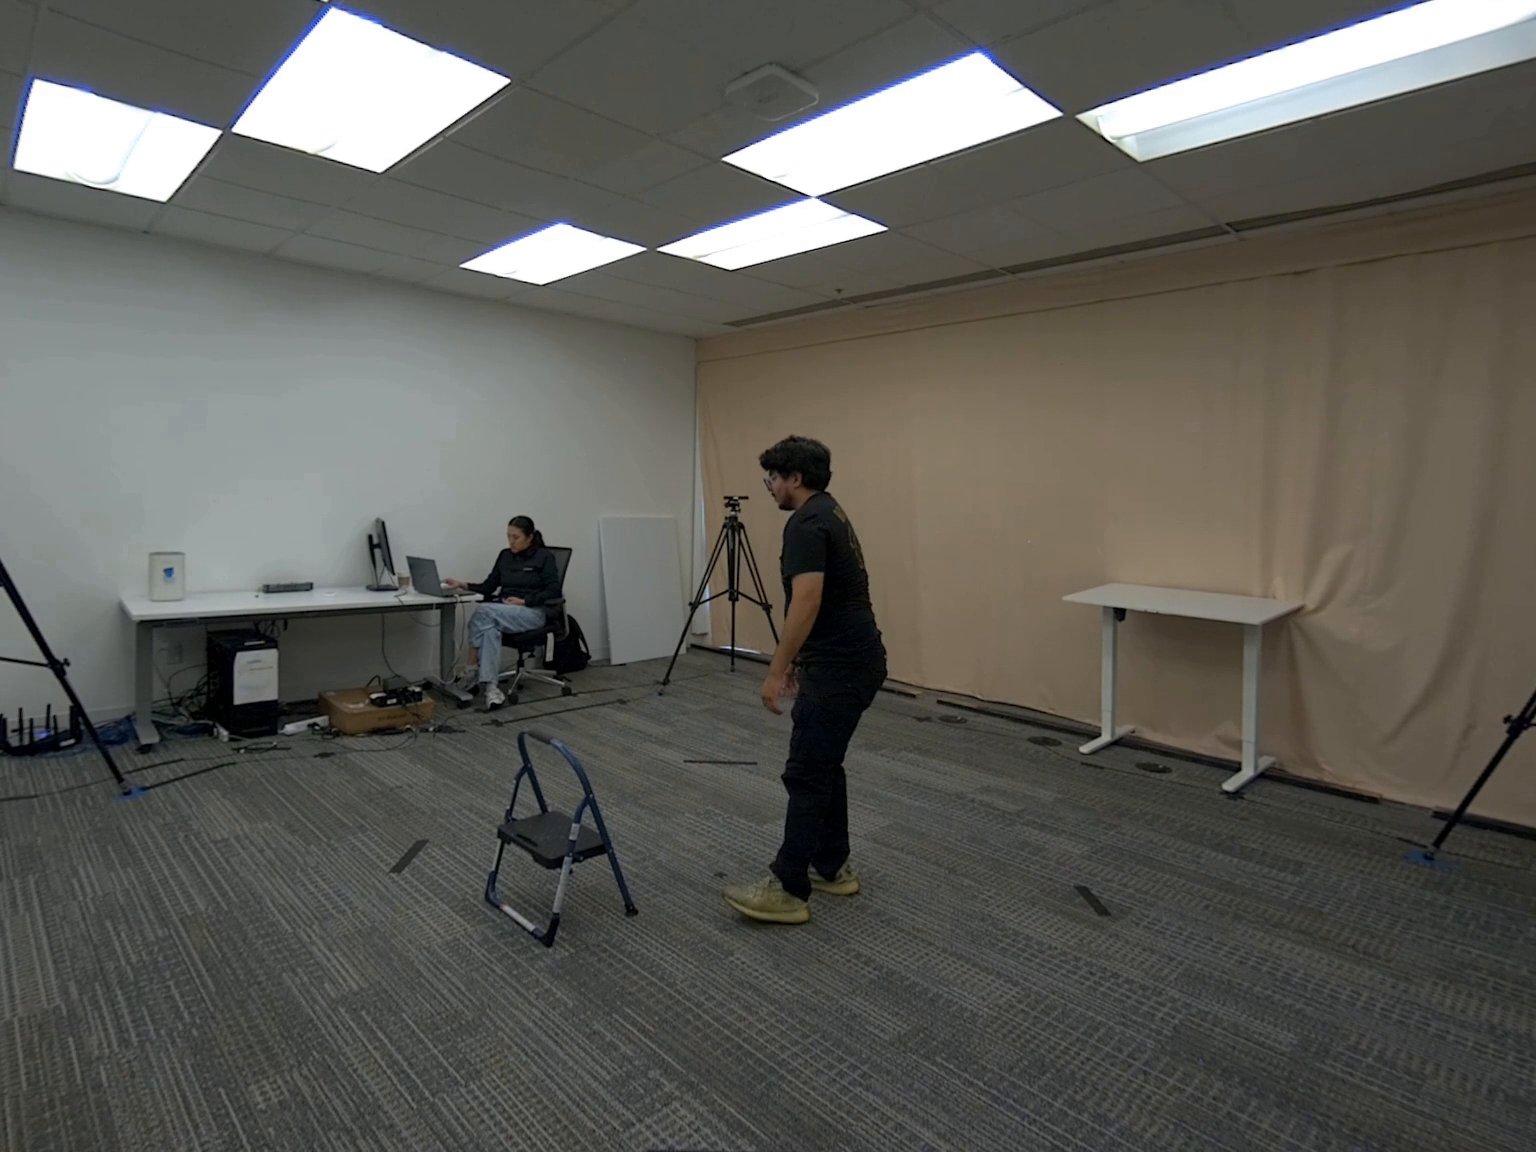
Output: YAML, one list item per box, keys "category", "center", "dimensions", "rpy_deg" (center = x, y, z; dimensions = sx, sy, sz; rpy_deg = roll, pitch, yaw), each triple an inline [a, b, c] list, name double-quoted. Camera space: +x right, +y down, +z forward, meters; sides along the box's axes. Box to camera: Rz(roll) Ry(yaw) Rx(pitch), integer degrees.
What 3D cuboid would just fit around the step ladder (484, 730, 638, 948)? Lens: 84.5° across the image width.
- category: "step ladder"
  center: [-0.702, 0.817, 2.822]
  dimensions: [0.441, 0.605, 0.341]
  rpy_deg: [3, 4, 44]
